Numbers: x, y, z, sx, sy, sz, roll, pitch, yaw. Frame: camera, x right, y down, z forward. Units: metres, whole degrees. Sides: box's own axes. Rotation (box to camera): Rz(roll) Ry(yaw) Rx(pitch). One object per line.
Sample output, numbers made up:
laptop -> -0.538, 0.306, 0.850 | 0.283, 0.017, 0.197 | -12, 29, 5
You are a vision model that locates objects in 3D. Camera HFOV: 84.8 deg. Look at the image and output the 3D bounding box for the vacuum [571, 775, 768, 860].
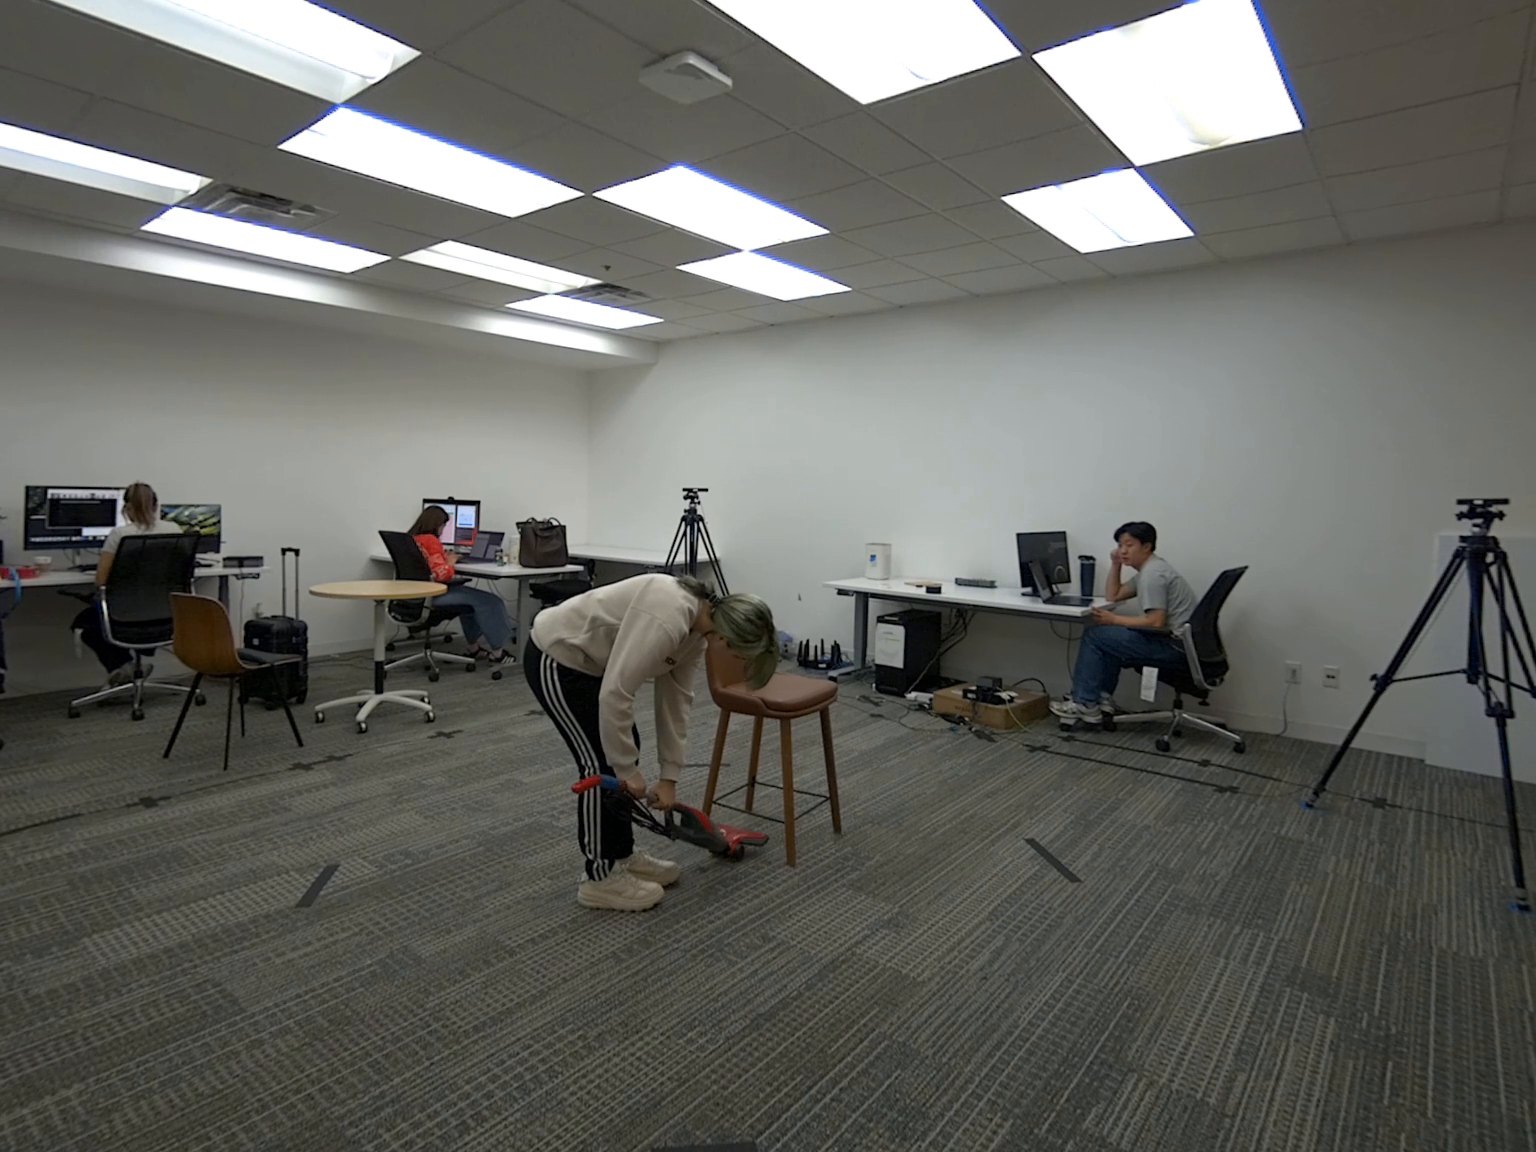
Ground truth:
vacuum -> -0.352, 0.810, 2.835 | 0.260, 0.146, 1.006 | 5, -22, 30
